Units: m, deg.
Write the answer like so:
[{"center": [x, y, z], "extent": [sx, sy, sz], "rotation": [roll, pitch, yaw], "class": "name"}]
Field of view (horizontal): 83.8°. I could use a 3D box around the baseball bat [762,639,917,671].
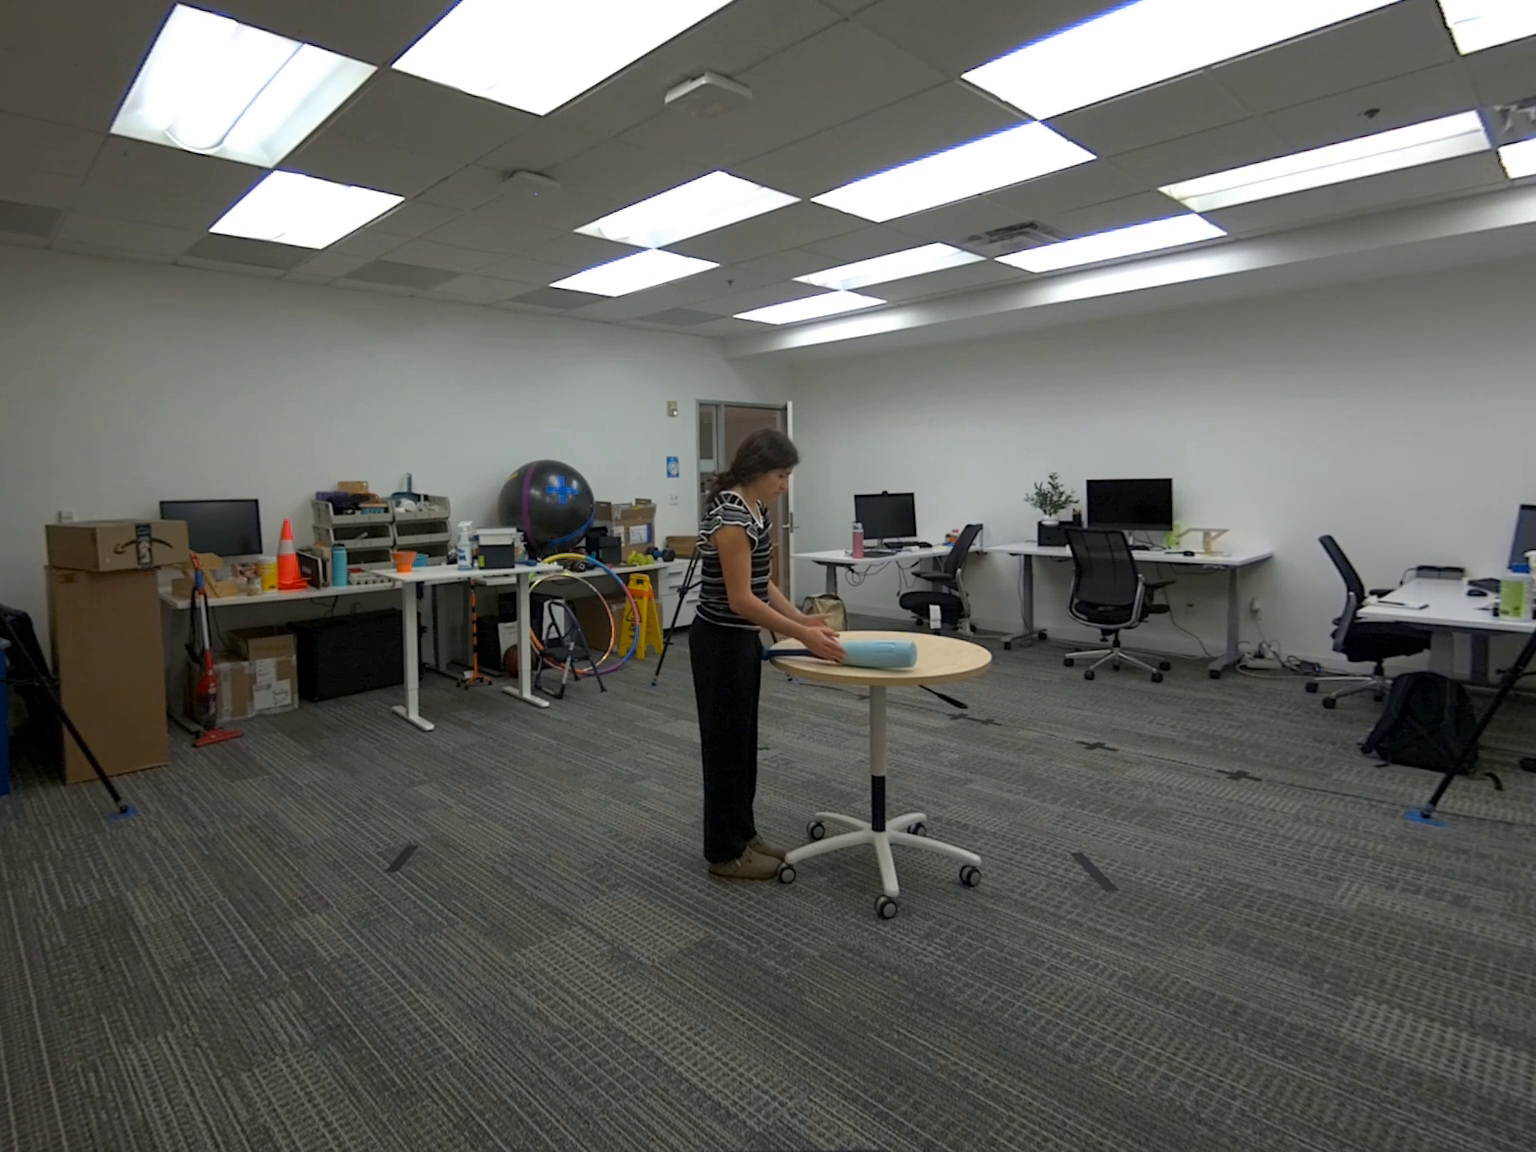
[{"center": [0.221, 0.251, 2.840], "extent": [0.556, 0.089, 0.087], "rotation": [-3, 3, 30], "class": "baseball bat"}]
